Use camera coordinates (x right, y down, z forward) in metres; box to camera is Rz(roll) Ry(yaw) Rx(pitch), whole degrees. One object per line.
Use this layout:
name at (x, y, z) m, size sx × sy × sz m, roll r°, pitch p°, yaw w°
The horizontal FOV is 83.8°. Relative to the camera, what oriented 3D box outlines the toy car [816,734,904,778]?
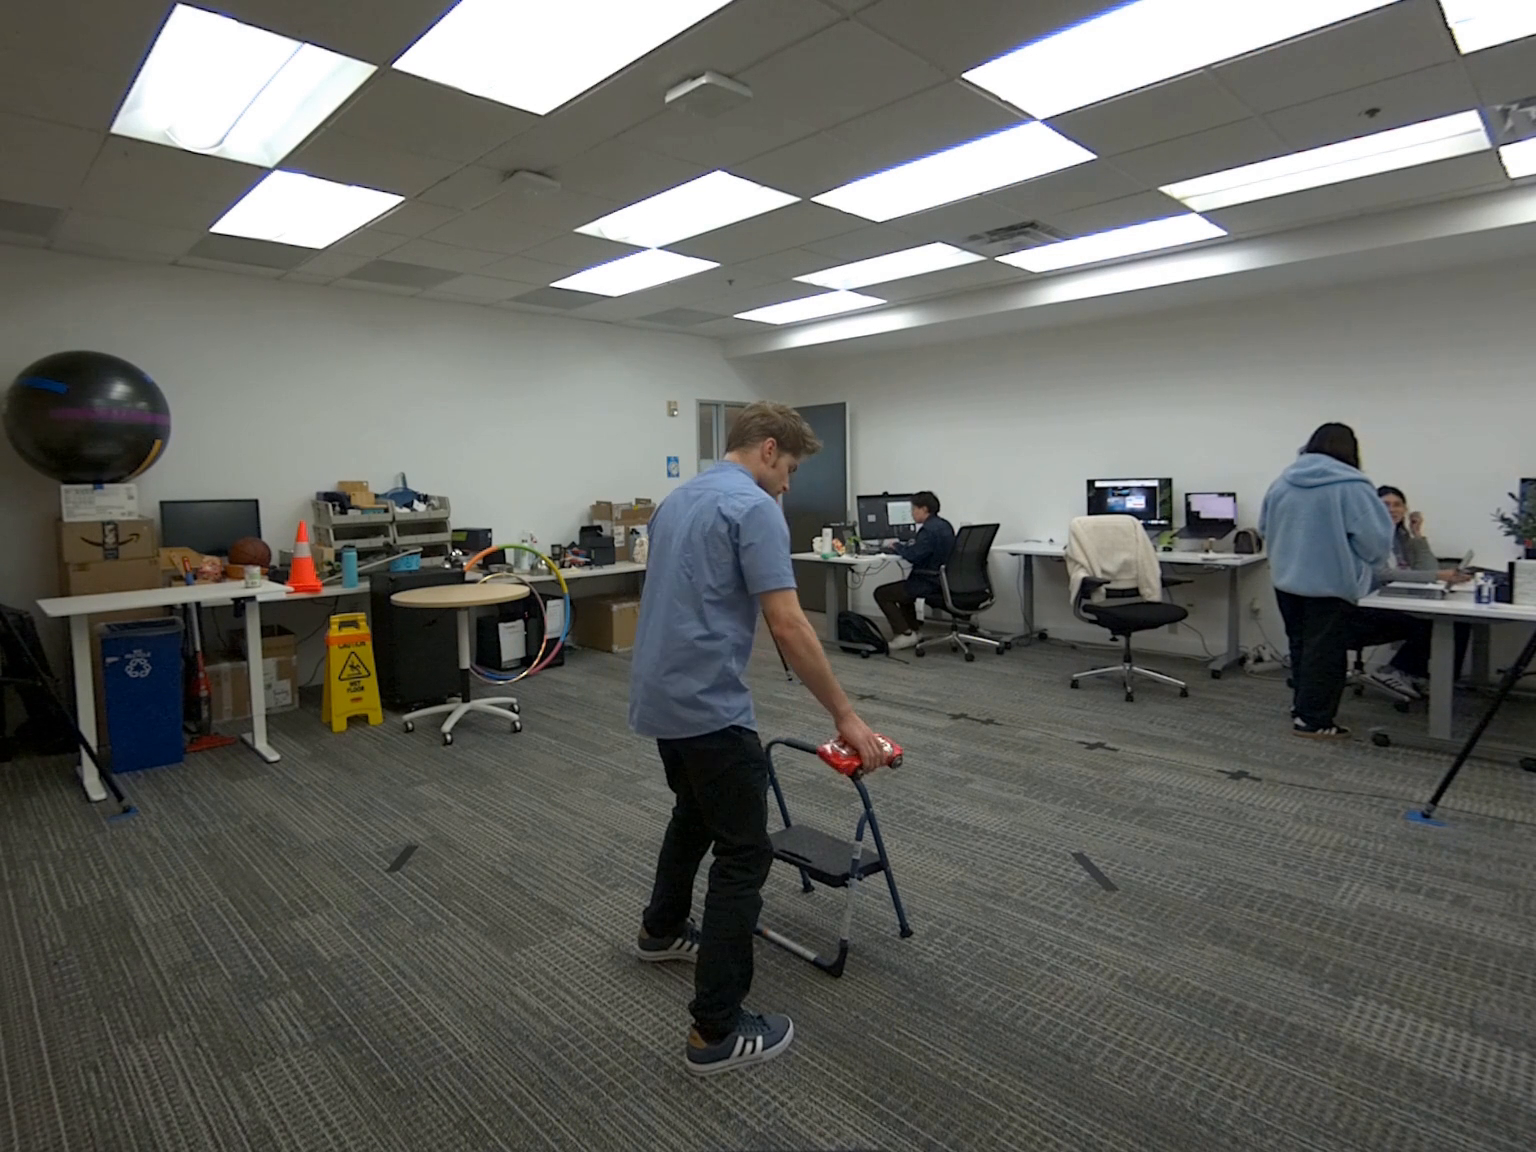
toy car at (0.219, 0.448, 2.143) m, size 0.246 × 0.083 × 0.135 m, roll 8°, pitch 17°, yaw -44°
